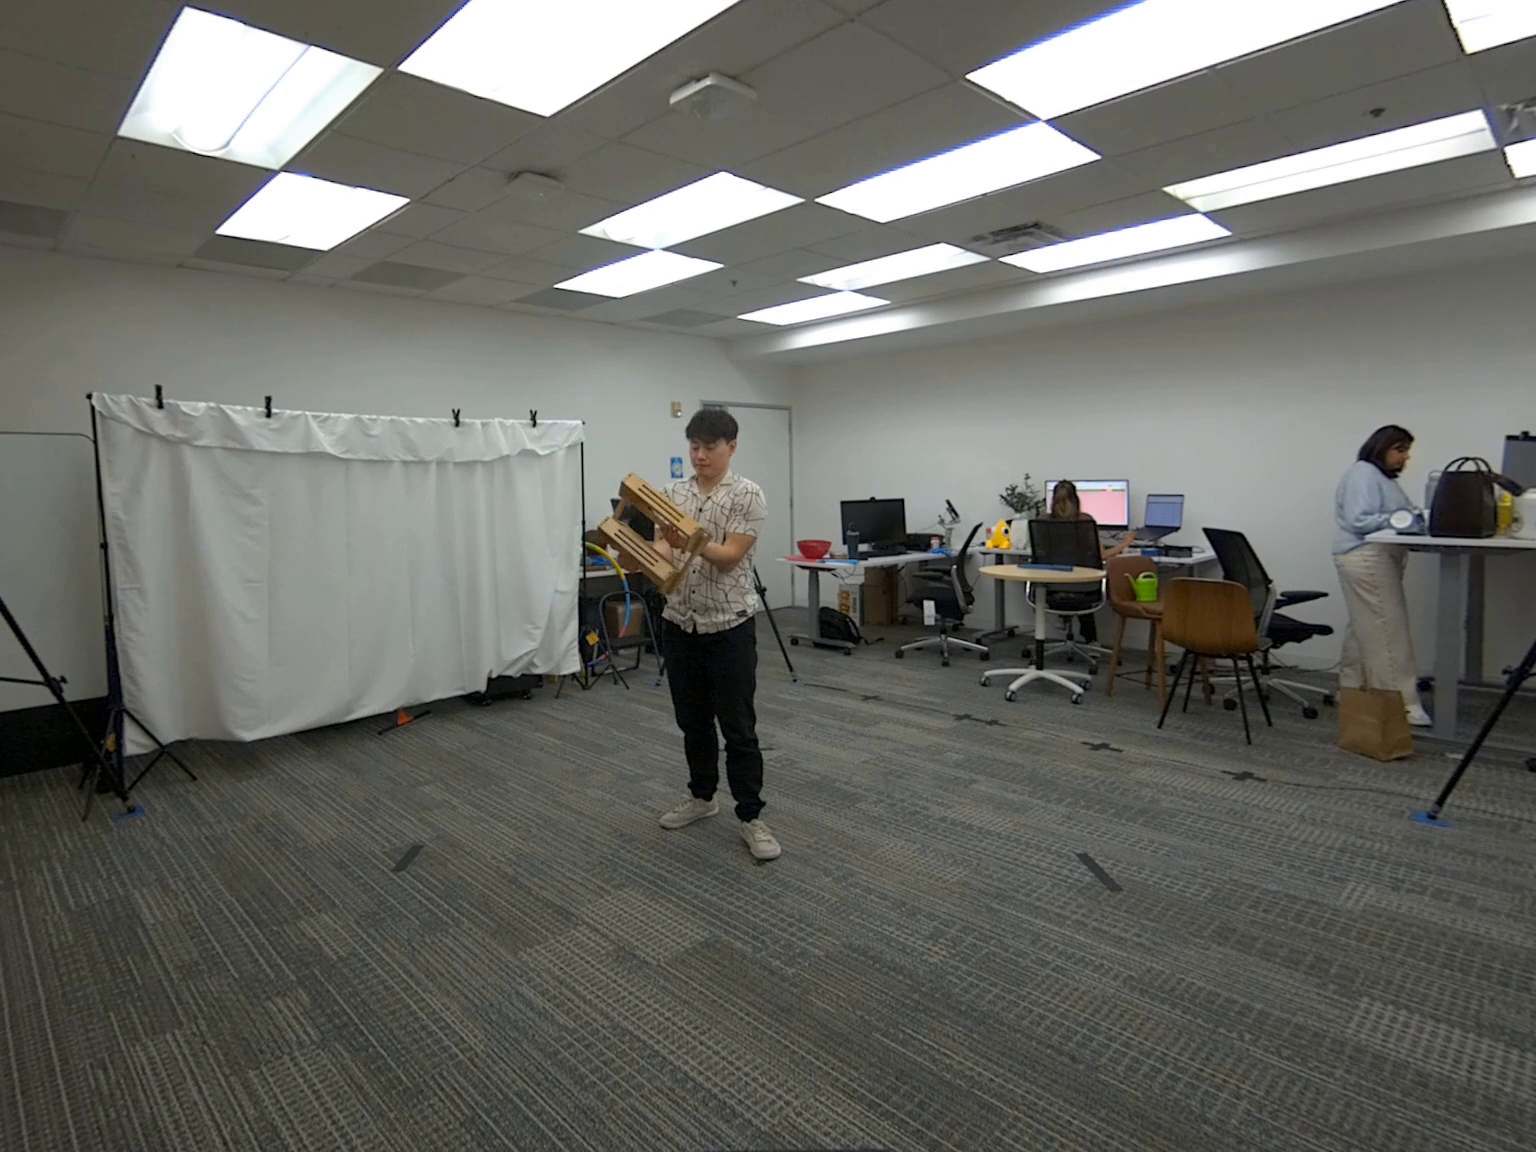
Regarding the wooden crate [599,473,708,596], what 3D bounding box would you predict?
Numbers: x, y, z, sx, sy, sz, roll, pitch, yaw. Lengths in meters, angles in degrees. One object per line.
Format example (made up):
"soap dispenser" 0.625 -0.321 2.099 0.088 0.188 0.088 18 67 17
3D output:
"wooden crate" -0.404 -0.134 2.911 0.330 0.273 0.297 40 1 12
